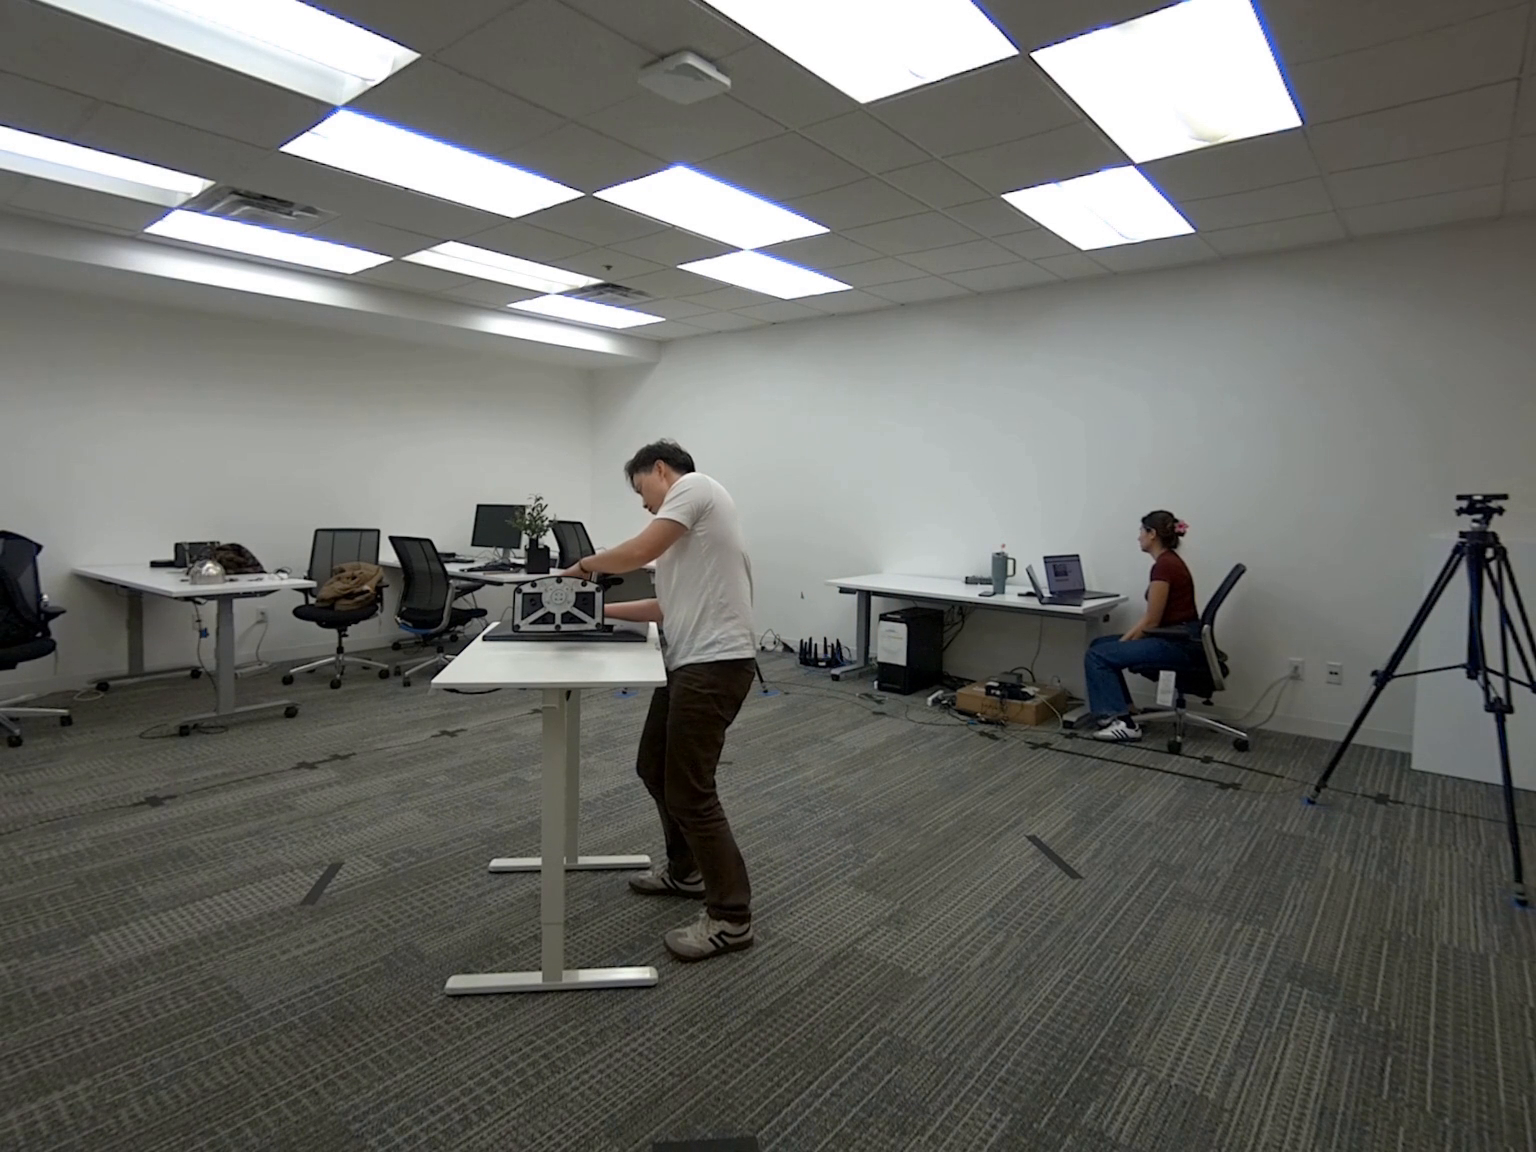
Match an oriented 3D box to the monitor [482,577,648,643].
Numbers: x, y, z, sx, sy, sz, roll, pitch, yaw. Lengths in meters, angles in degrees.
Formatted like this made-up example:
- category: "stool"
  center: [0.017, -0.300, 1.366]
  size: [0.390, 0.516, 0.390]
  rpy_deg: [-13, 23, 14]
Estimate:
- category: "monitor"
  center: [-0.690, 0.139, 2.872]
  size: [0.537, 0.189, 0.518]
  rpy_deg: [2, -12, -5]
